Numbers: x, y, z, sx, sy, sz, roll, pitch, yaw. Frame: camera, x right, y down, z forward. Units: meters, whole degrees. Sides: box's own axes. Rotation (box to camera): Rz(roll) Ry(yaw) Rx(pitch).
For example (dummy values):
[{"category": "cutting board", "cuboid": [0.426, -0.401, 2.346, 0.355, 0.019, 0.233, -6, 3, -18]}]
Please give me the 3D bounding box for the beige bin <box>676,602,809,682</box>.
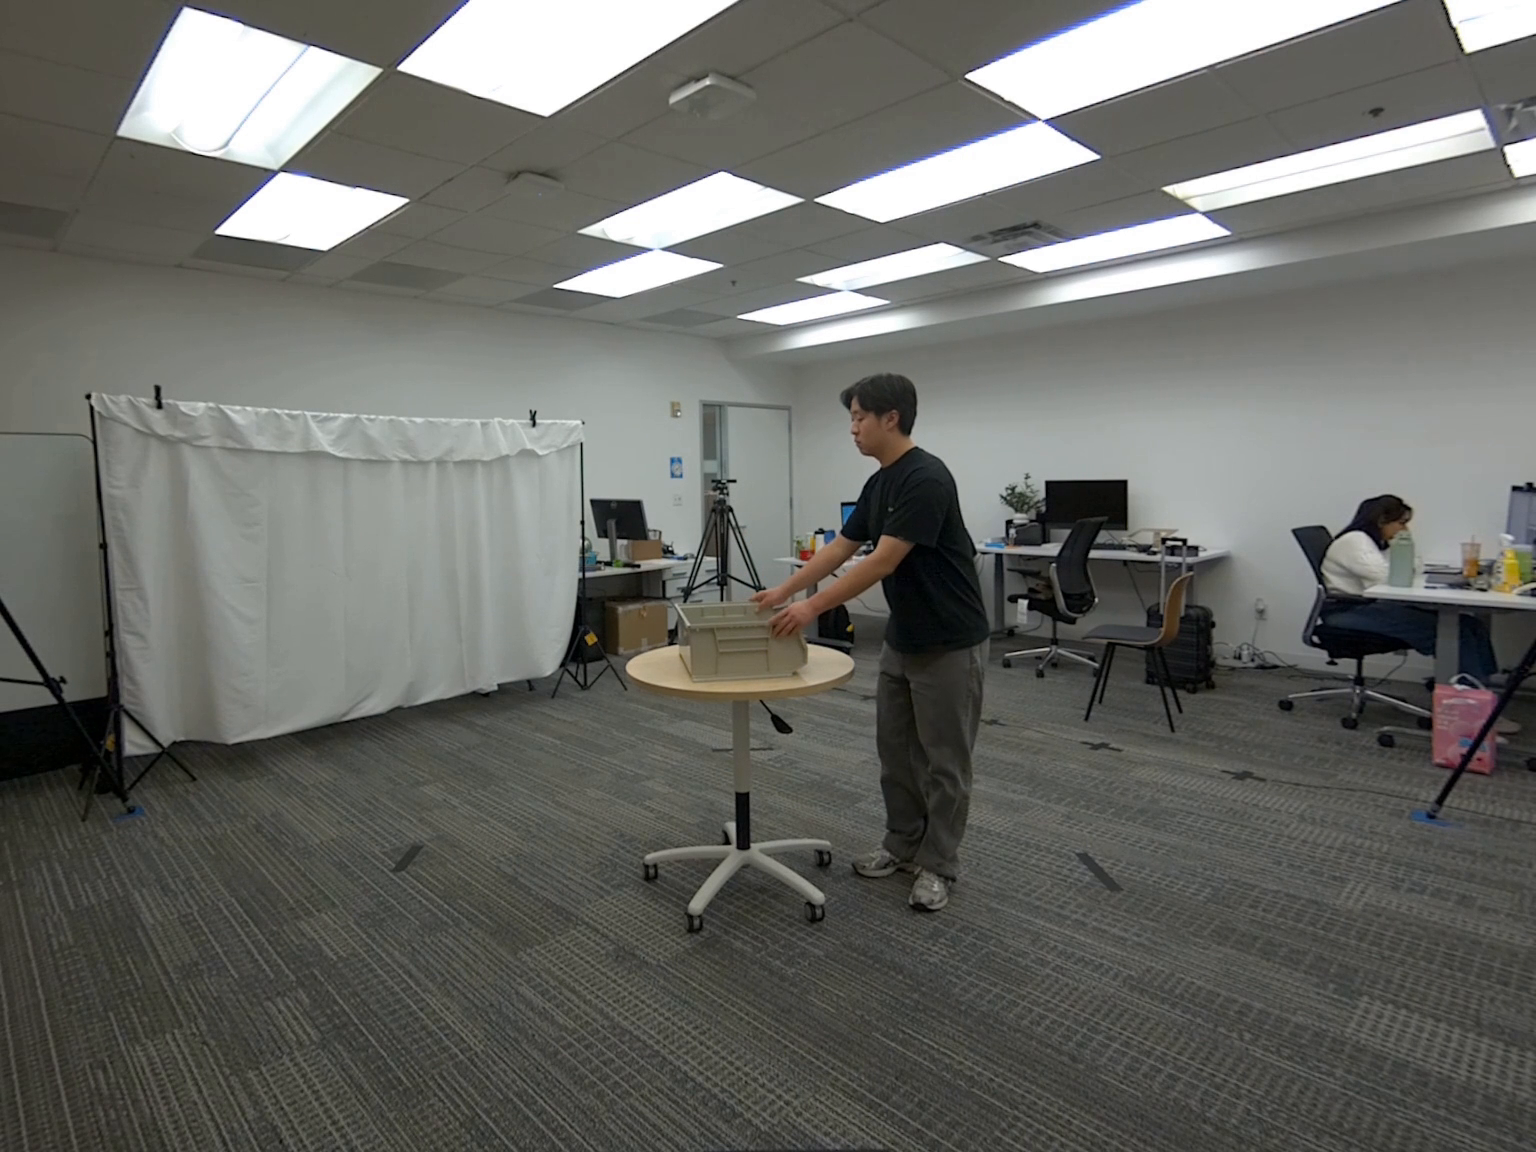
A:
[{"category": "beige bin", "cuboid": [-0.097, 0.208, 2.835, 0.374, 0.188, 0.429, -3, 7, -11]}]
